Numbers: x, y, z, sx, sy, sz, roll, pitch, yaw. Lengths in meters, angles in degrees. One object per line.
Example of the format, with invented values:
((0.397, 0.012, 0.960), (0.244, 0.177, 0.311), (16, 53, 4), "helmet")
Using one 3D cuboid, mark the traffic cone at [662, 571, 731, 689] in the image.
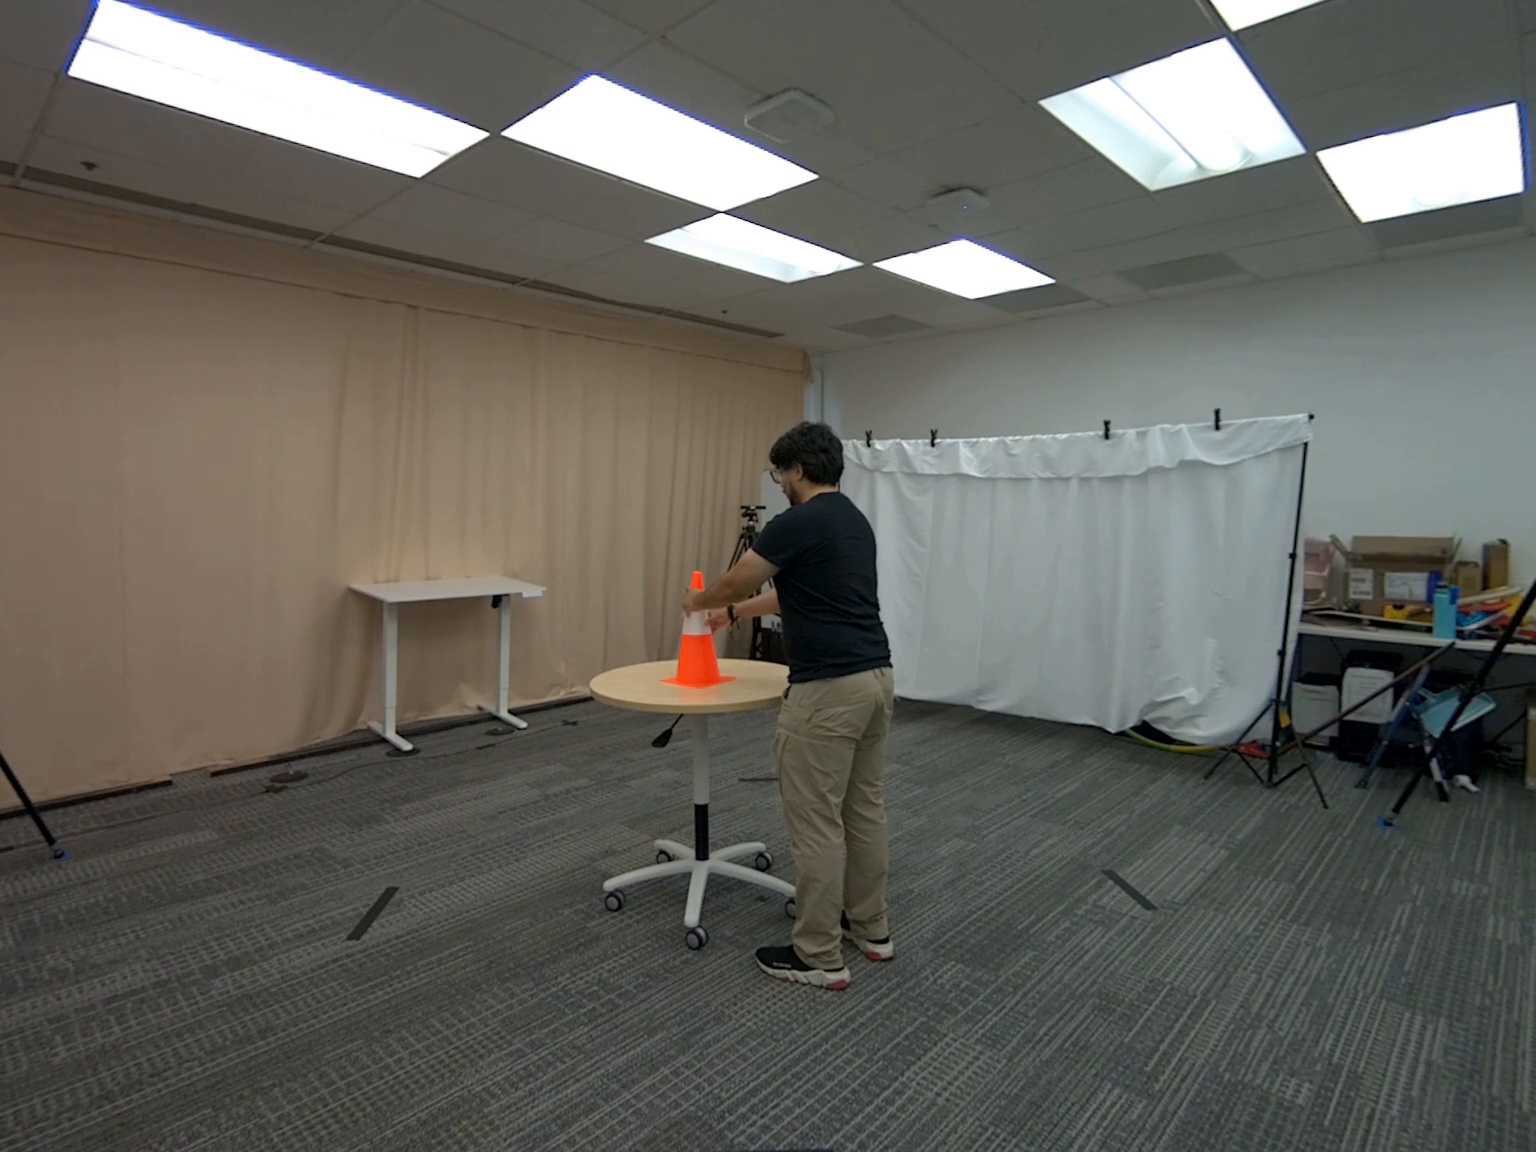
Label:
((-0.249, 0.180, 2.938), (0.211, 0.383, 0.197), (0, 3, 34), "traffic cone")
